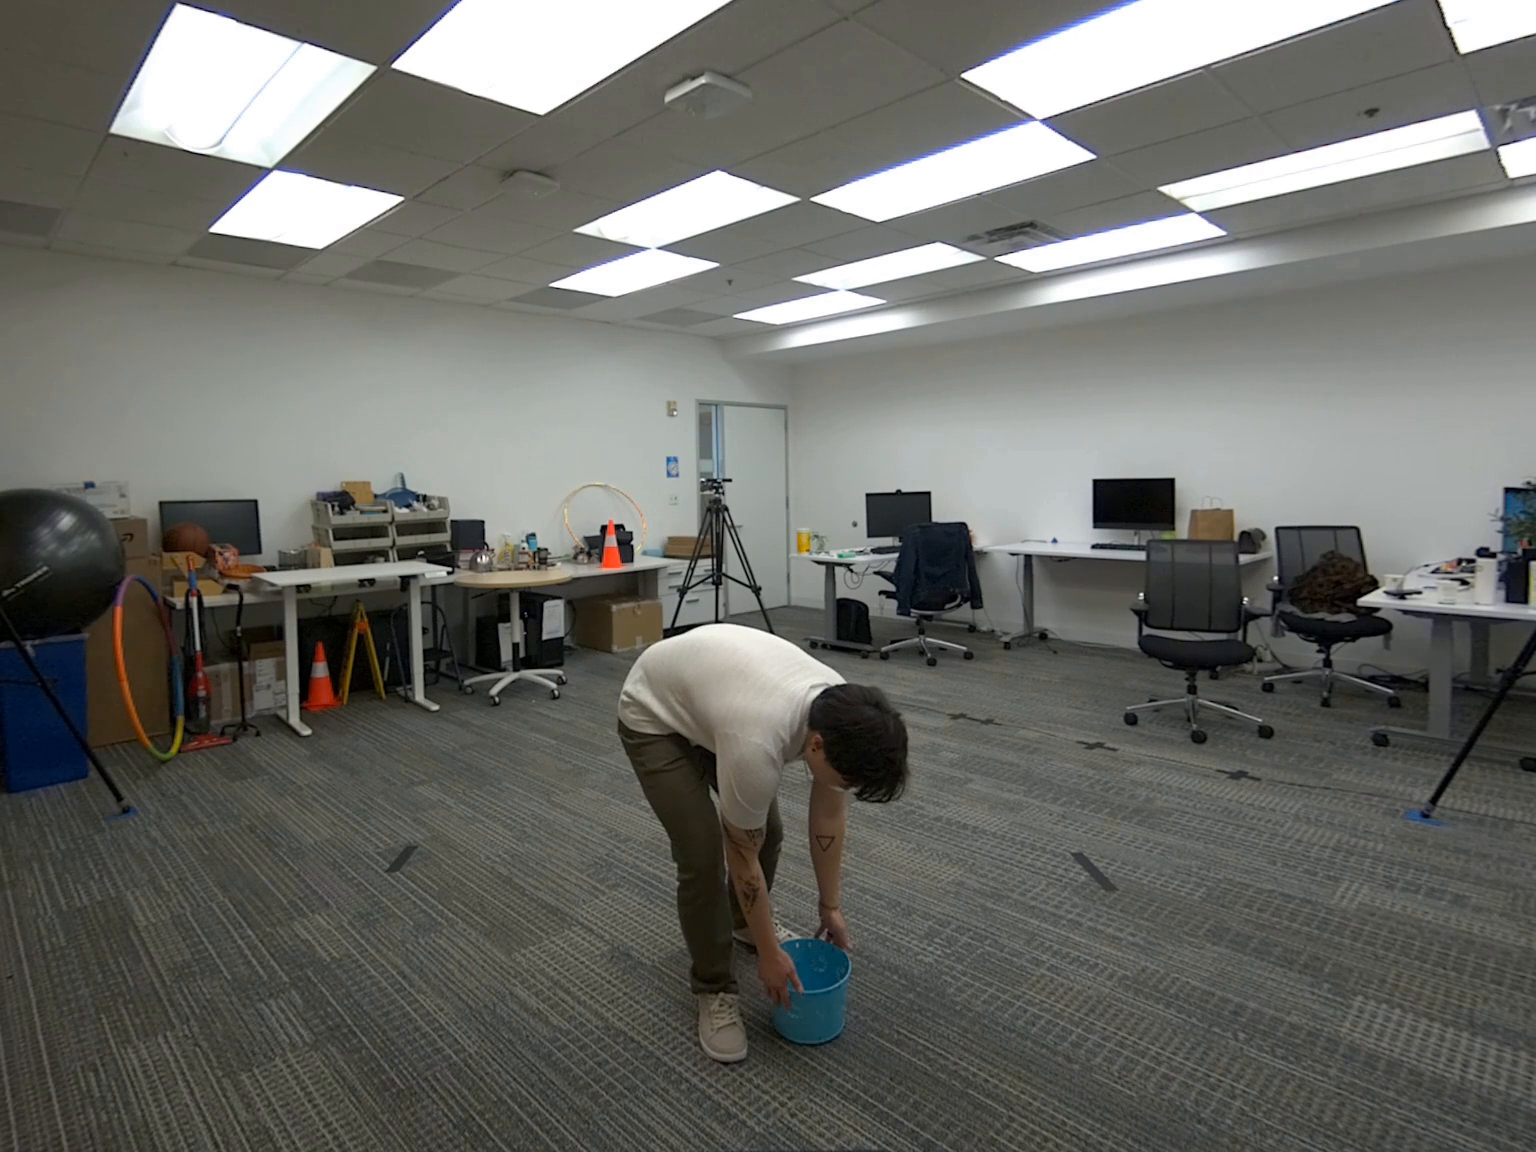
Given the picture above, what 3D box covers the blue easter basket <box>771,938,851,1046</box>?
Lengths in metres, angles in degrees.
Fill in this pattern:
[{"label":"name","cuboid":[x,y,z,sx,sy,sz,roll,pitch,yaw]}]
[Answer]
[{"label":"blue easter basket","cuboid":[0.113,1.060,2.190,0.243,0.155,0.245,-1,6,-2]}]
